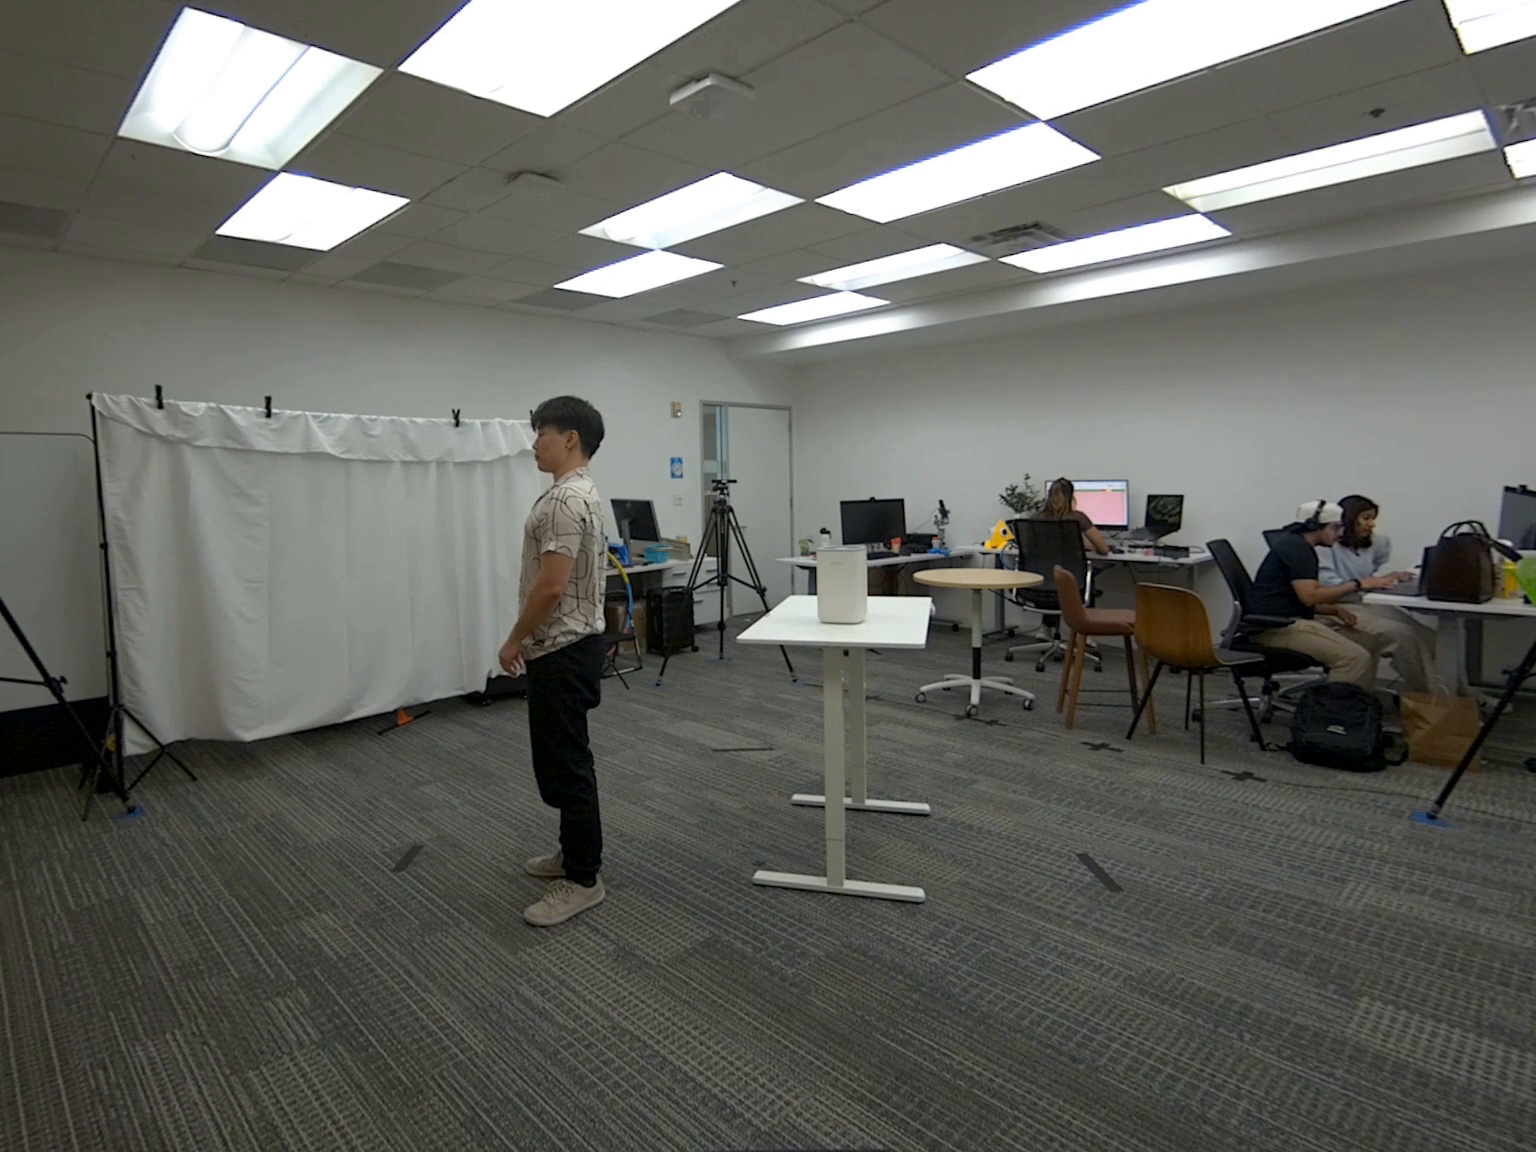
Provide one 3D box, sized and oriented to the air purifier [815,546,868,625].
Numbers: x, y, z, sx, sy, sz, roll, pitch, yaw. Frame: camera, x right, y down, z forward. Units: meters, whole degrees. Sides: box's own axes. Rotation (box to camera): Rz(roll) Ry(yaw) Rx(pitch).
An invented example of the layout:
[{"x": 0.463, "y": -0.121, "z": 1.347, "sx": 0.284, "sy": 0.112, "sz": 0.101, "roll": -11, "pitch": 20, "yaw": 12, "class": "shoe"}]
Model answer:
[{"x": 0.277, "y": 0.034, "z": 3.084, "sx": 0.173, "sy": 0.264, "sz": 0.170, "roll": 2, "pitch": 5, "yaw": 11, "class": "air purifier"}]
